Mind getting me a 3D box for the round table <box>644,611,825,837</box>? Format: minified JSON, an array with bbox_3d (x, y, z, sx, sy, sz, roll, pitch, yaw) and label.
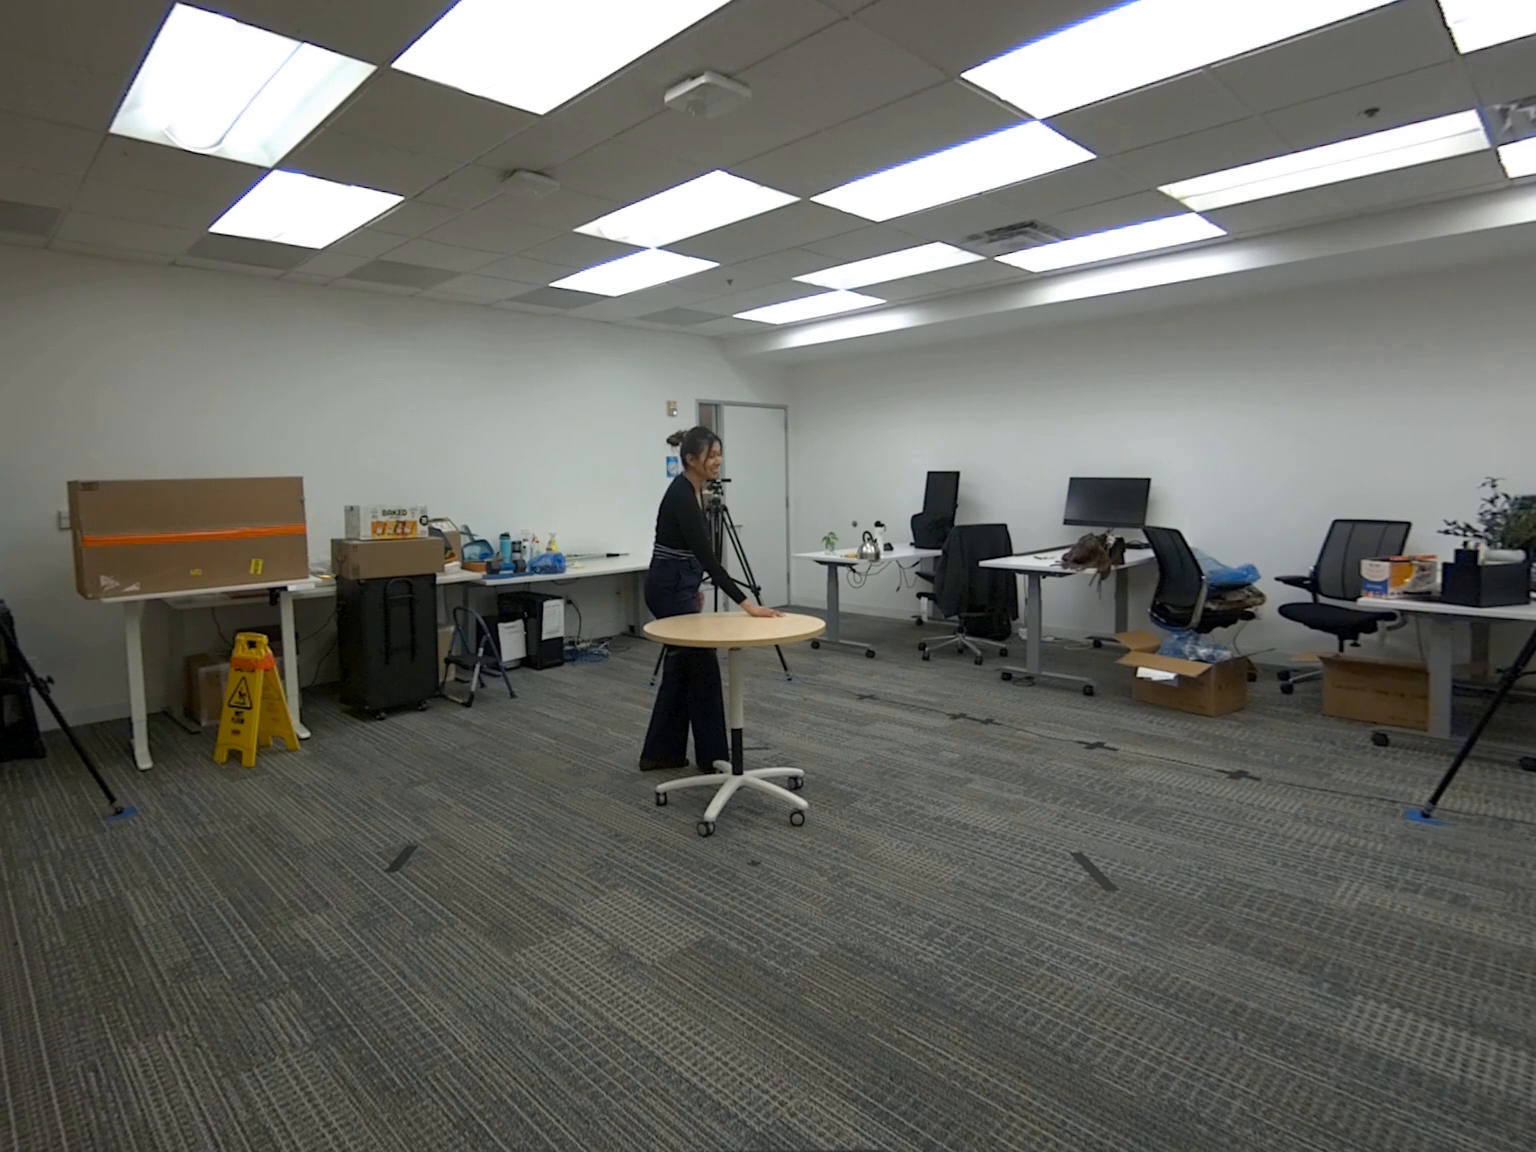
[{"bbox_3d":[-0.130,0.598,3.630,0.763,0.791,0.768,-1,4,-2],"label":"round table"}]
